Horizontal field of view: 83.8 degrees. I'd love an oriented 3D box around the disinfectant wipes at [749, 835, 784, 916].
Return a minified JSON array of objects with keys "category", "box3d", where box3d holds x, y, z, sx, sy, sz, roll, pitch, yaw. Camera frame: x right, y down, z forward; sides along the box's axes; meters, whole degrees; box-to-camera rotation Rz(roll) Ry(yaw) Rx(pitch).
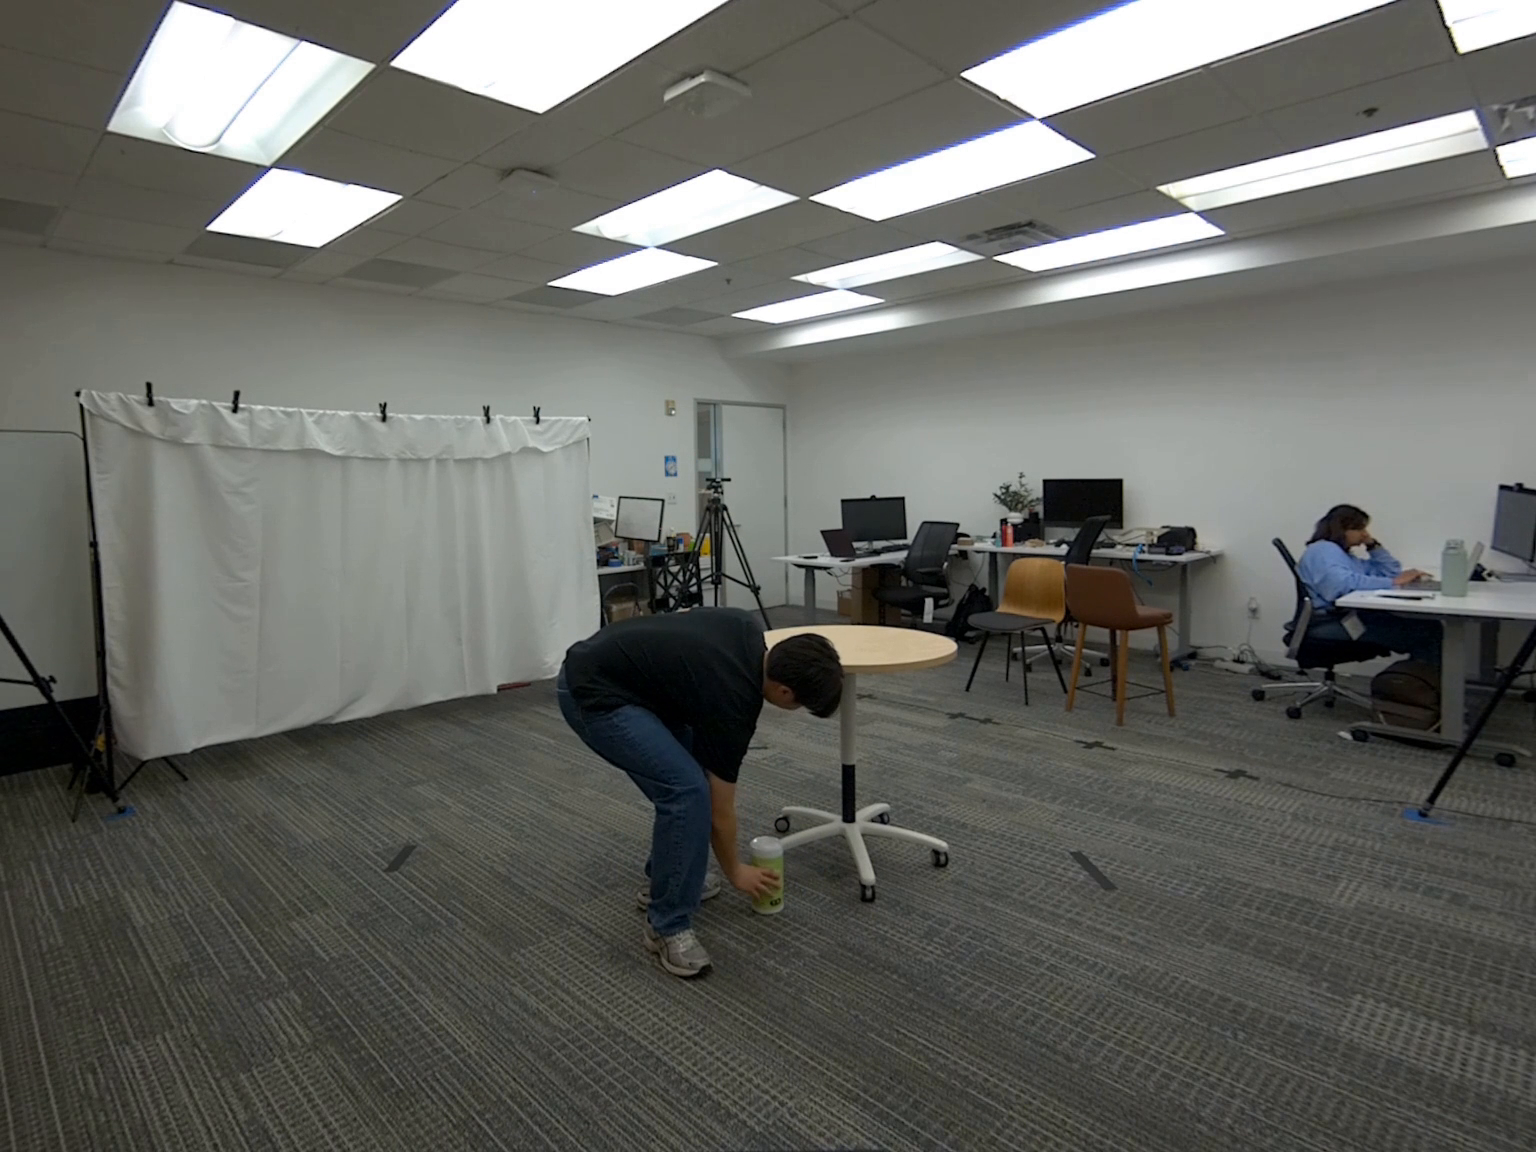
[{"category":"disinfectant wipes","box3d":[-0.004,0.975,2.775,0.118,0.216,0.118,-1,6,-2]}]
